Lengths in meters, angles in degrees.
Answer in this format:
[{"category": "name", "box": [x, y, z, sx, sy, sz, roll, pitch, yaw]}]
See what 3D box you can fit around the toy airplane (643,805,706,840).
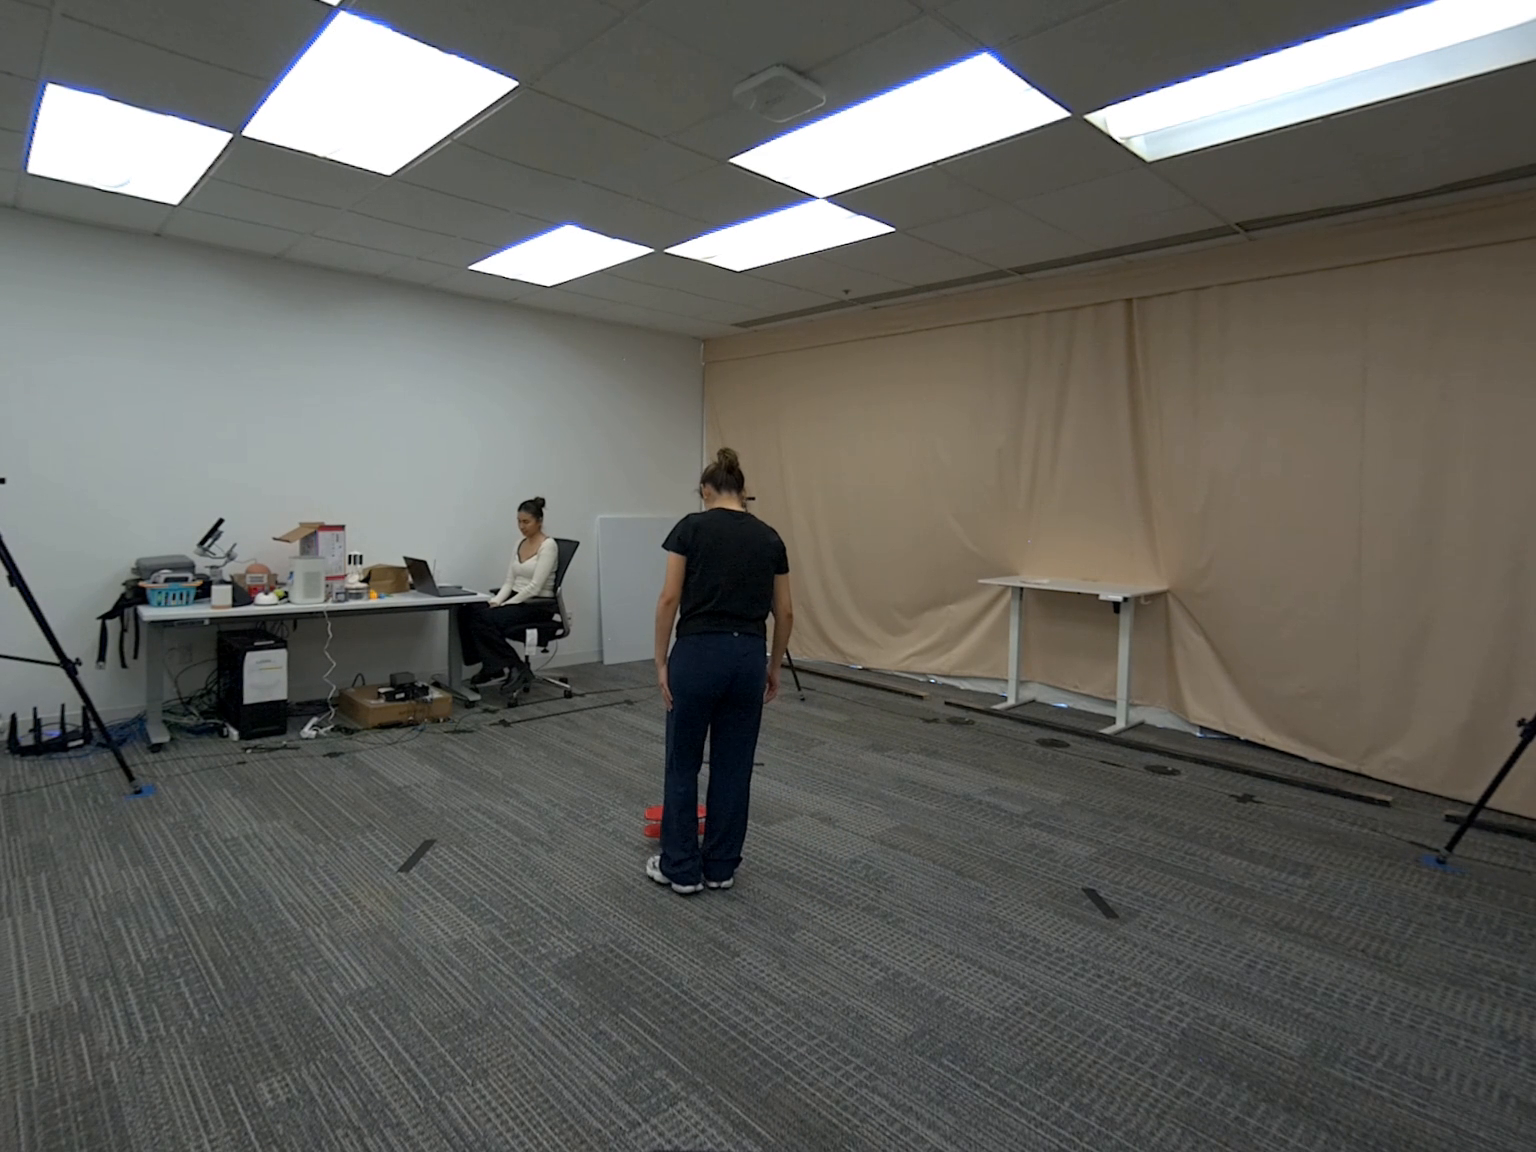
[{"category": "toy airplane", "box": [-0.345, 1.011, 3.316, 0.245, 0.156, 0.265, -2, 5, -39]}]
